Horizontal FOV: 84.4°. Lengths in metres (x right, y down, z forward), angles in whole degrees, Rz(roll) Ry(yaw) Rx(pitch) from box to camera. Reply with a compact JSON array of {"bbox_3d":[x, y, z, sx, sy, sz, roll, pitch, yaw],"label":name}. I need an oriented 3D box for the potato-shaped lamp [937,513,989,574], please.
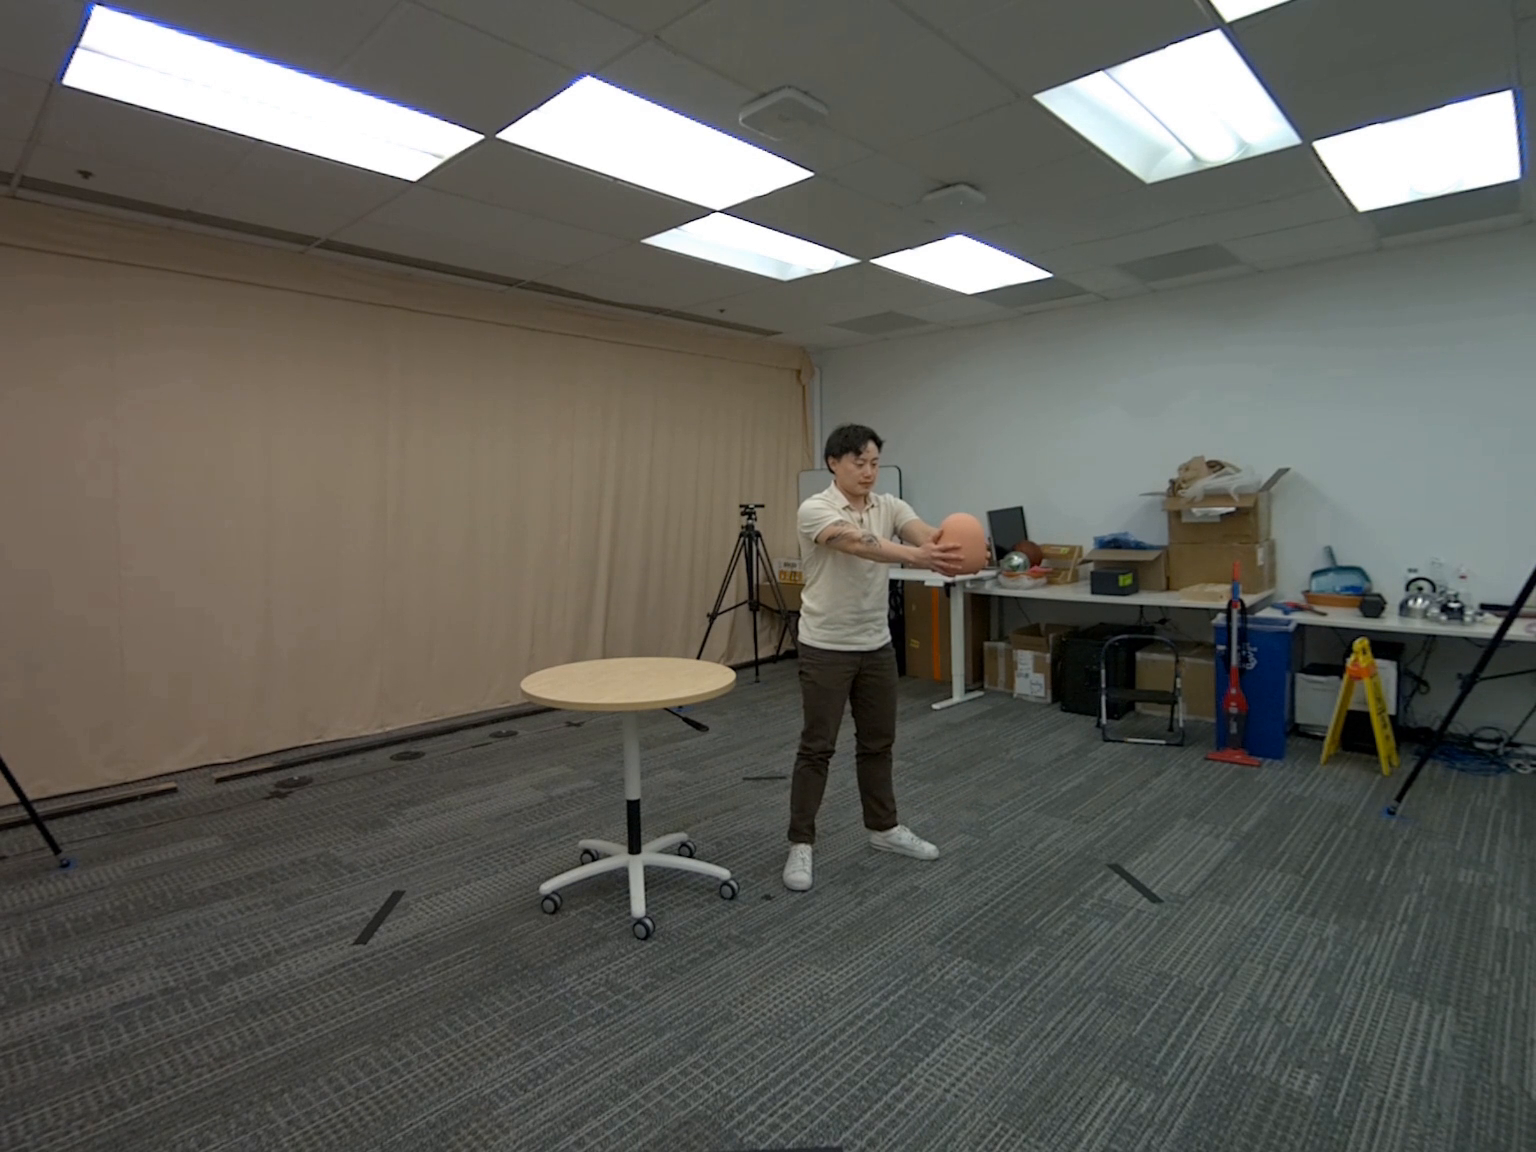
[{"bbox_3d":[0.615,-0.104,2.714,0.160,0.197,0.177,-7,13,-31],"label":"potato-shaped lamp"}]
